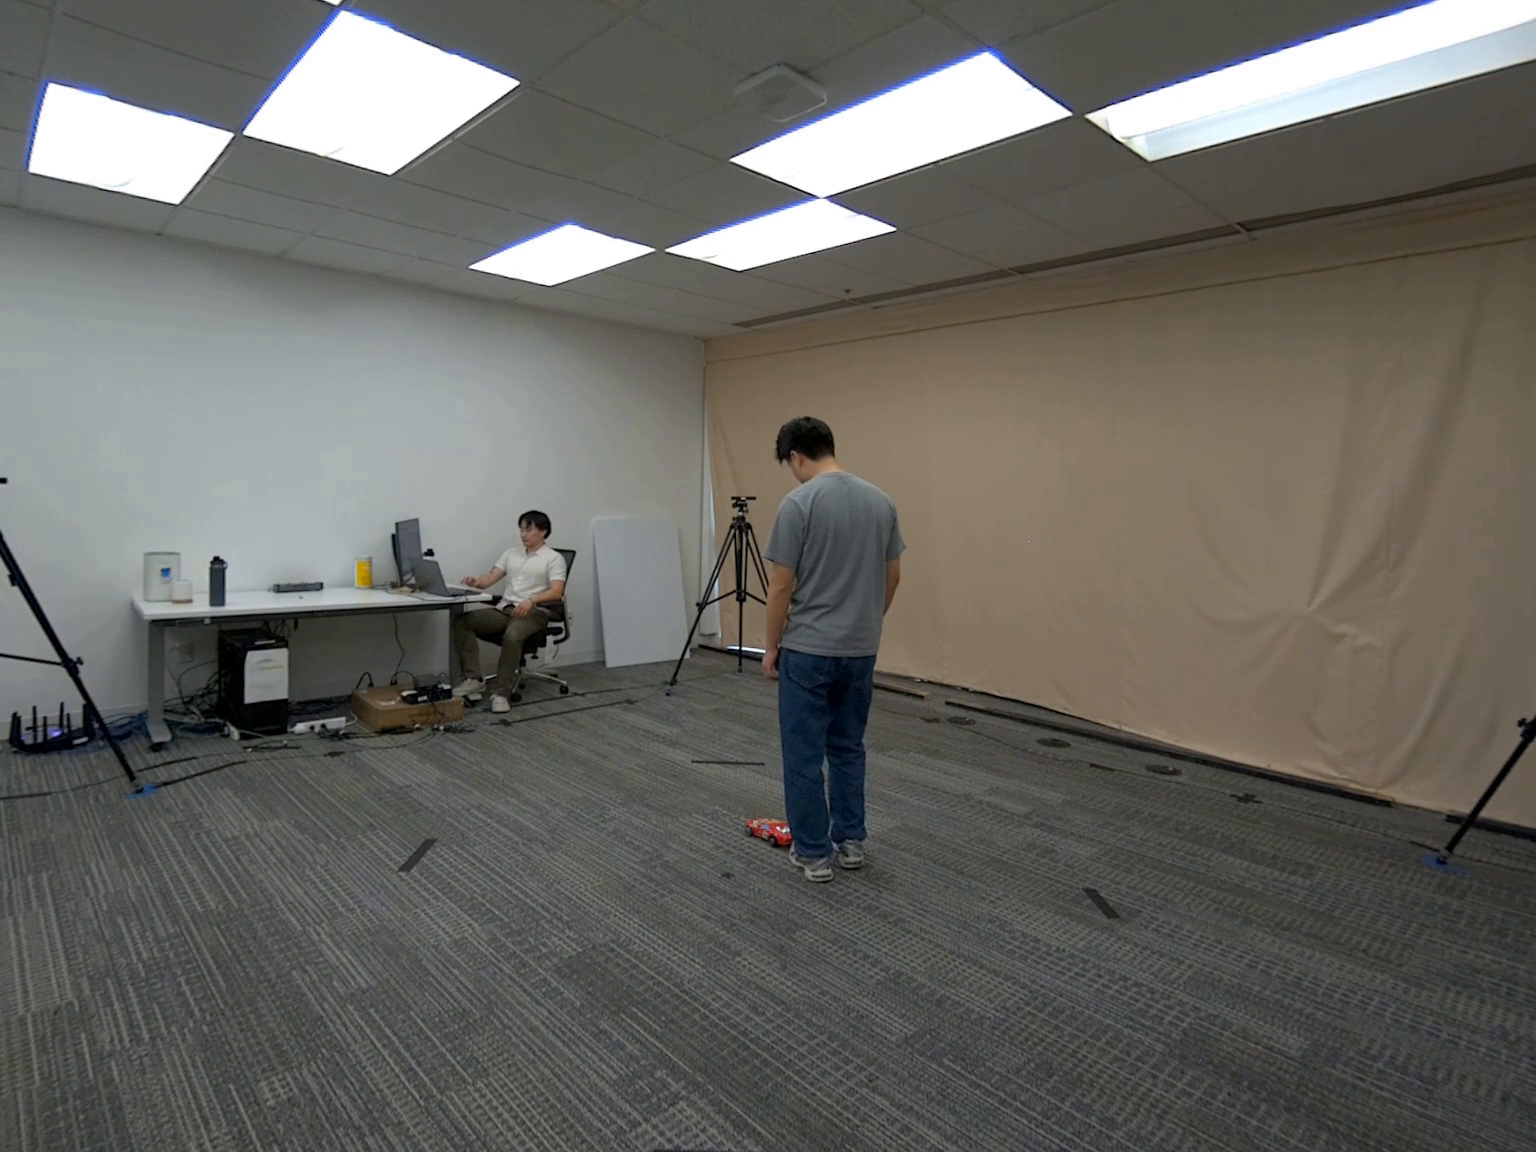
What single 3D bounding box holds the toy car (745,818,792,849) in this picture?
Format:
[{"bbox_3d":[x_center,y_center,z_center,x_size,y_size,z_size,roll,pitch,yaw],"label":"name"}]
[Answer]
[{"bbox_3d":[0.015,1.048,3.444,0.127,0.083,0.259,-2,-5,-43],"label":"toy car"}]
